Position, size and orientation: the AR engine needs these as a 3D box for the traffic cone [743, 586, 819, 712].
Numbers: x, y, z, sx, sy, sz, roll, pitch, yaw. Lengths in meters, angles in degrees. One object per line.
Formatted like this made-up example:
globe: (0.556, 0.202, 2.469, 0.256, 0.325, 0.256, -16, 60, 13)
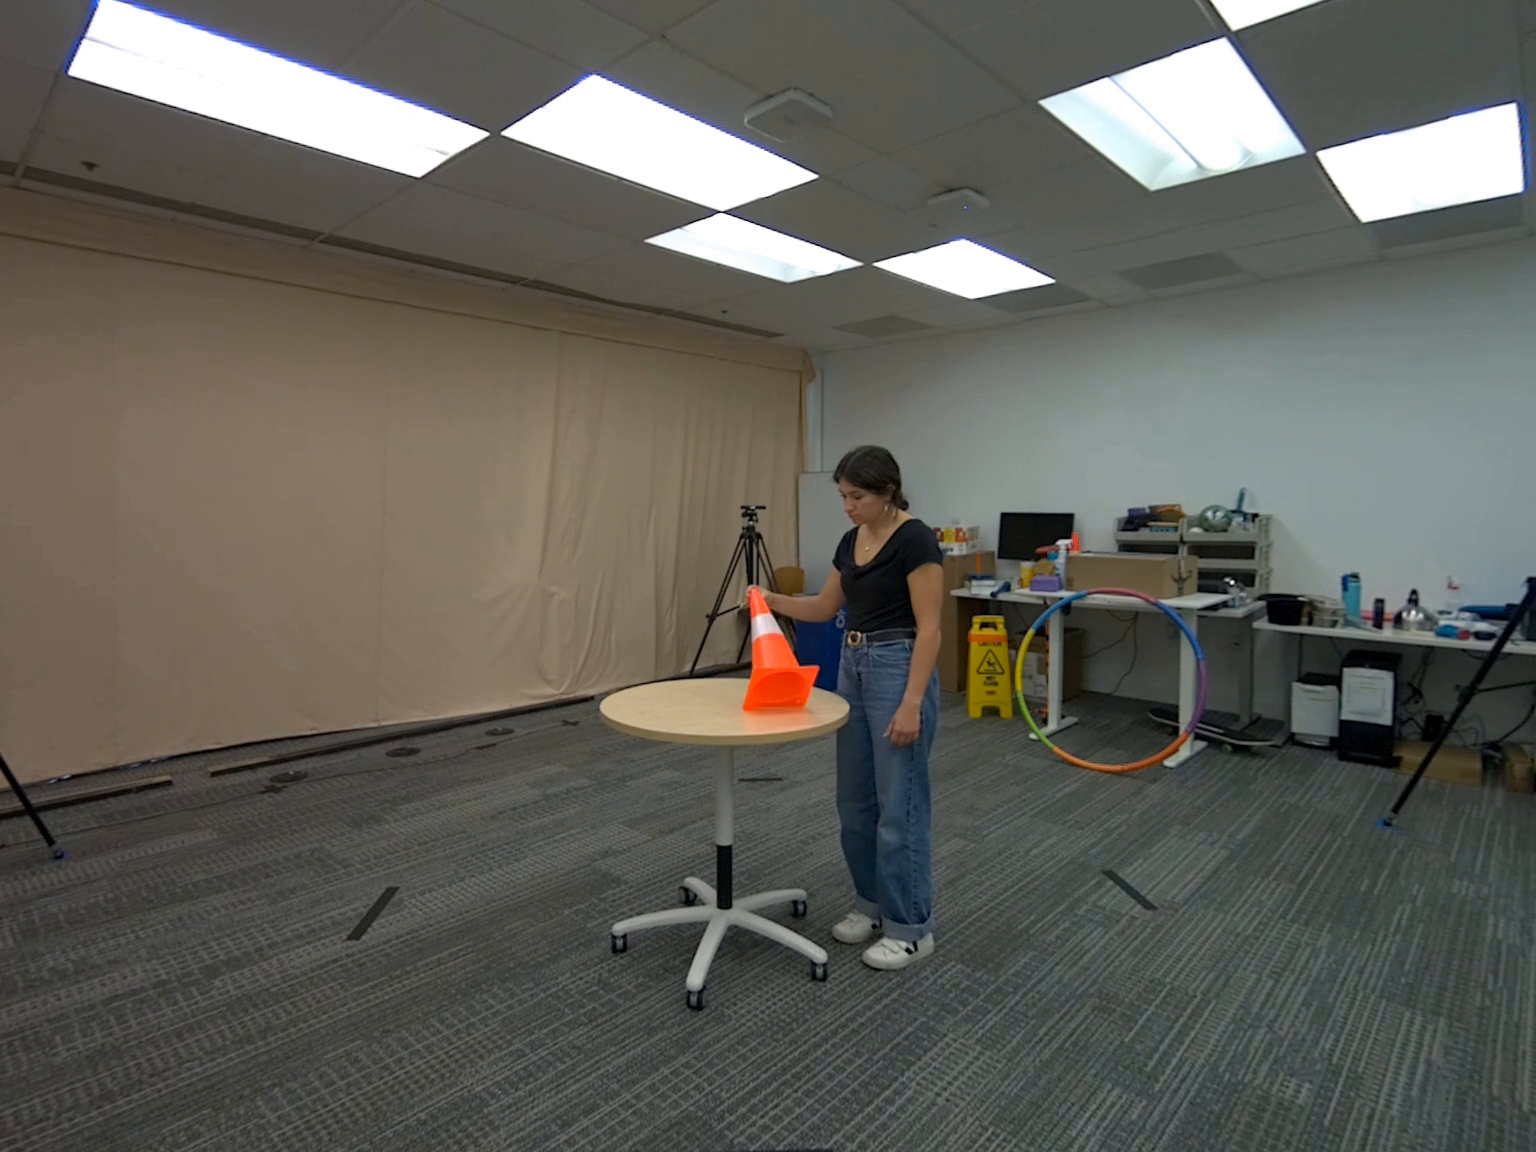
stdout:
traffic cone: (0.013, 0.202, 2.577, 0.200, 0.203, 0.394, 0, 47, -17)
